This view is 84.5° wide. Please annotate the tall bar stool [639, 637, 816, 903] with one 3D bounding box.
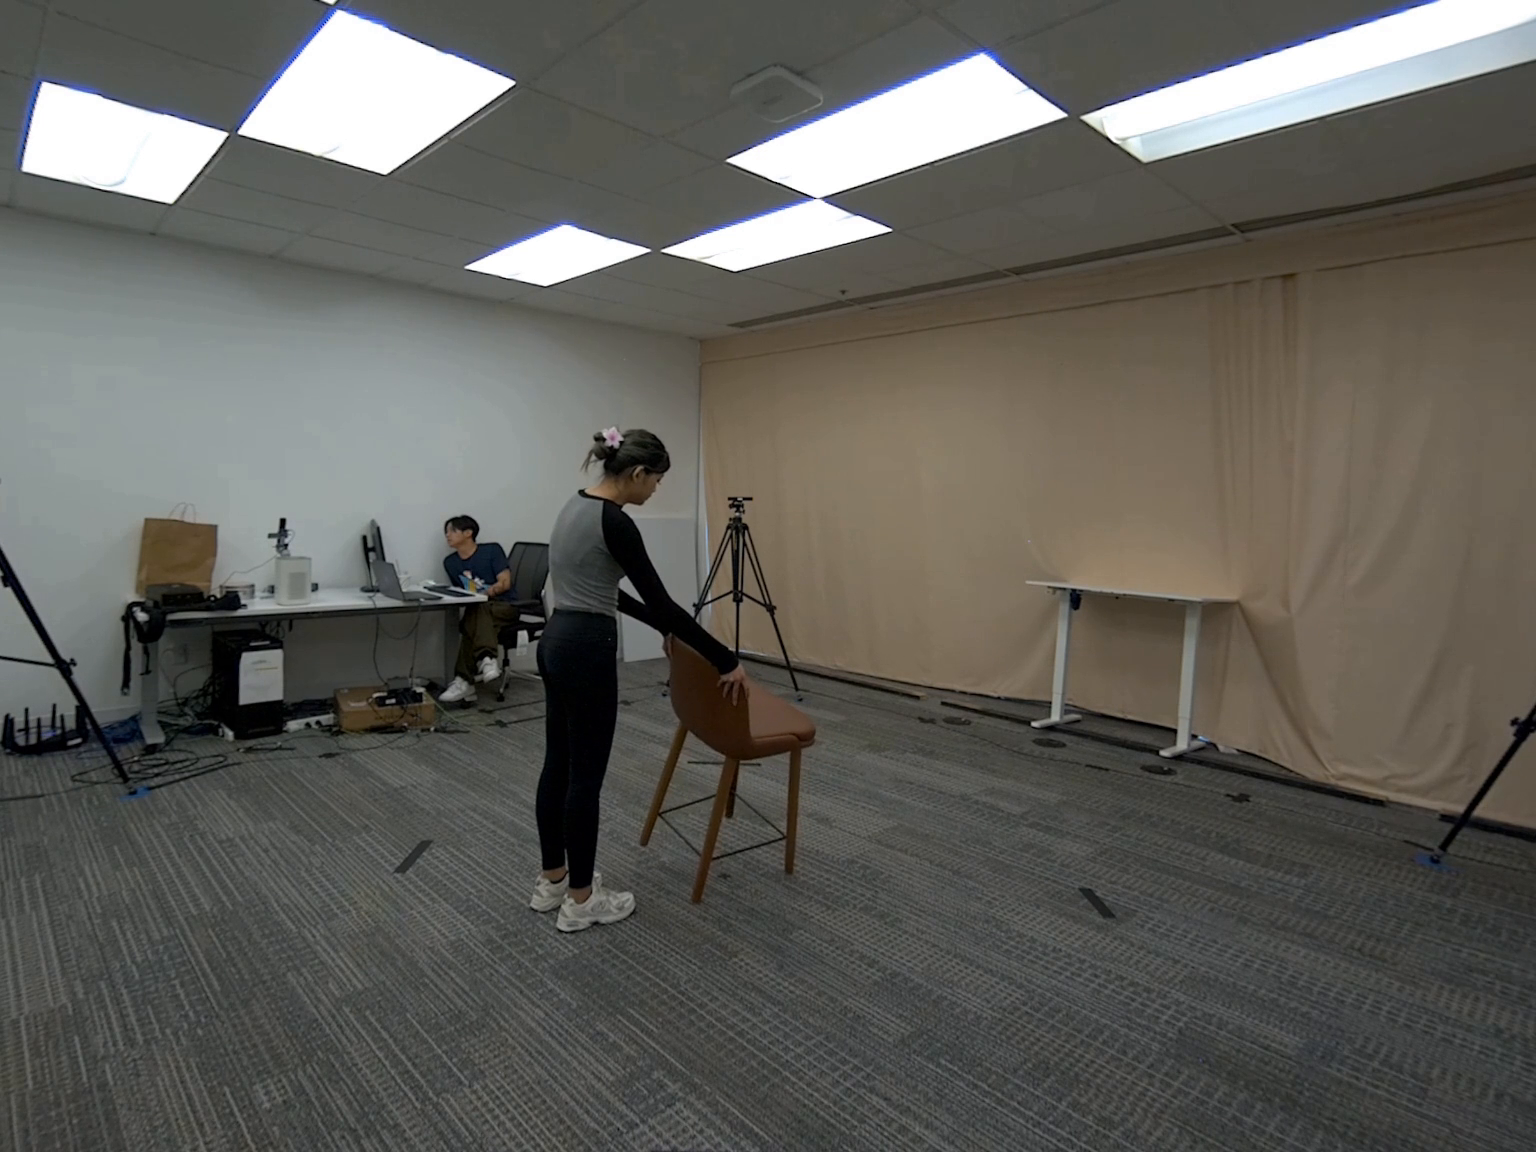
[{"bbox_3d":[-0.139,0.644,3.045,0.458,0.881,0.471,-5,21,-39],"label":"tall bar stool"}]
